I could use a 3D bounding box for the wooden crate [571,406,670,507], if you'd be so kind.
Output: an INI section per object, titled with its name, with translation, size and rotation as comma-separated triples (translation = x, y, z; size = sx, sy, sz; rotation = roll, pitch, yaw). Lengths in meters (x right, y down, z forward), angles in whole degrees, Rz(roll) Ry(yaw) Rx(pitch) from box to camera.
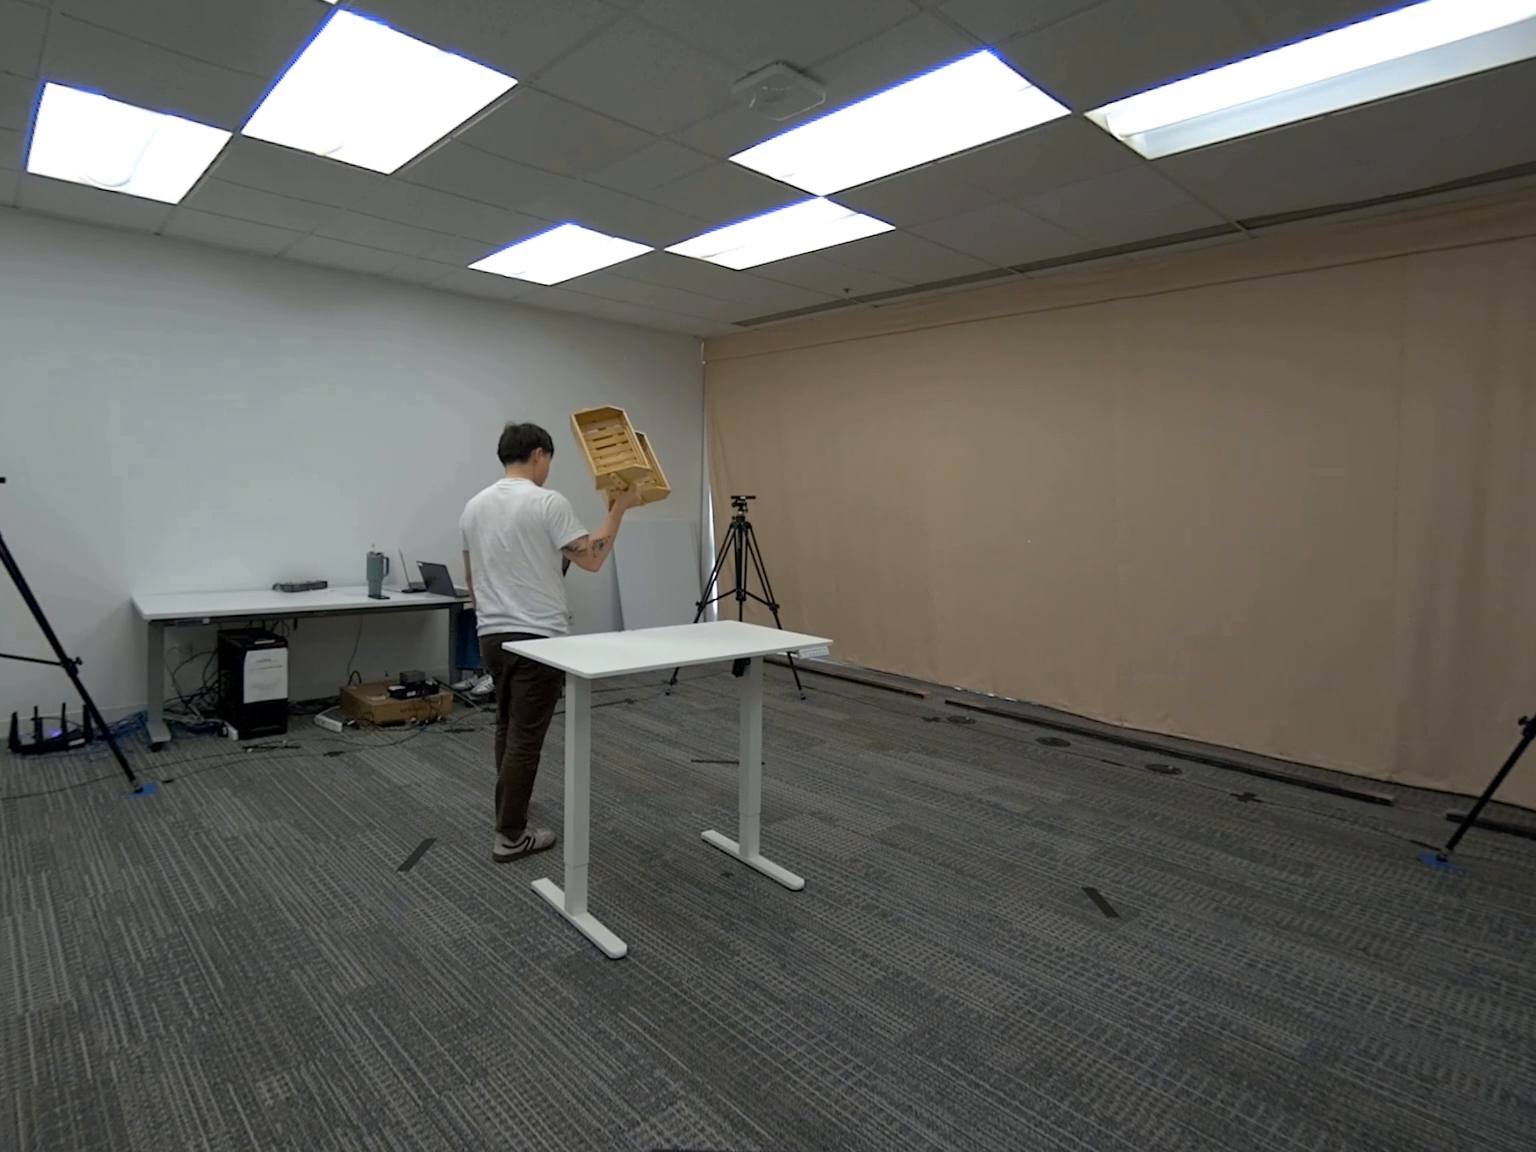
[wooden crate]
translation = -0.565, -0.453, 3.178
size = 0.299, 0.332, 0.269
rotation = -17, -28, -19
